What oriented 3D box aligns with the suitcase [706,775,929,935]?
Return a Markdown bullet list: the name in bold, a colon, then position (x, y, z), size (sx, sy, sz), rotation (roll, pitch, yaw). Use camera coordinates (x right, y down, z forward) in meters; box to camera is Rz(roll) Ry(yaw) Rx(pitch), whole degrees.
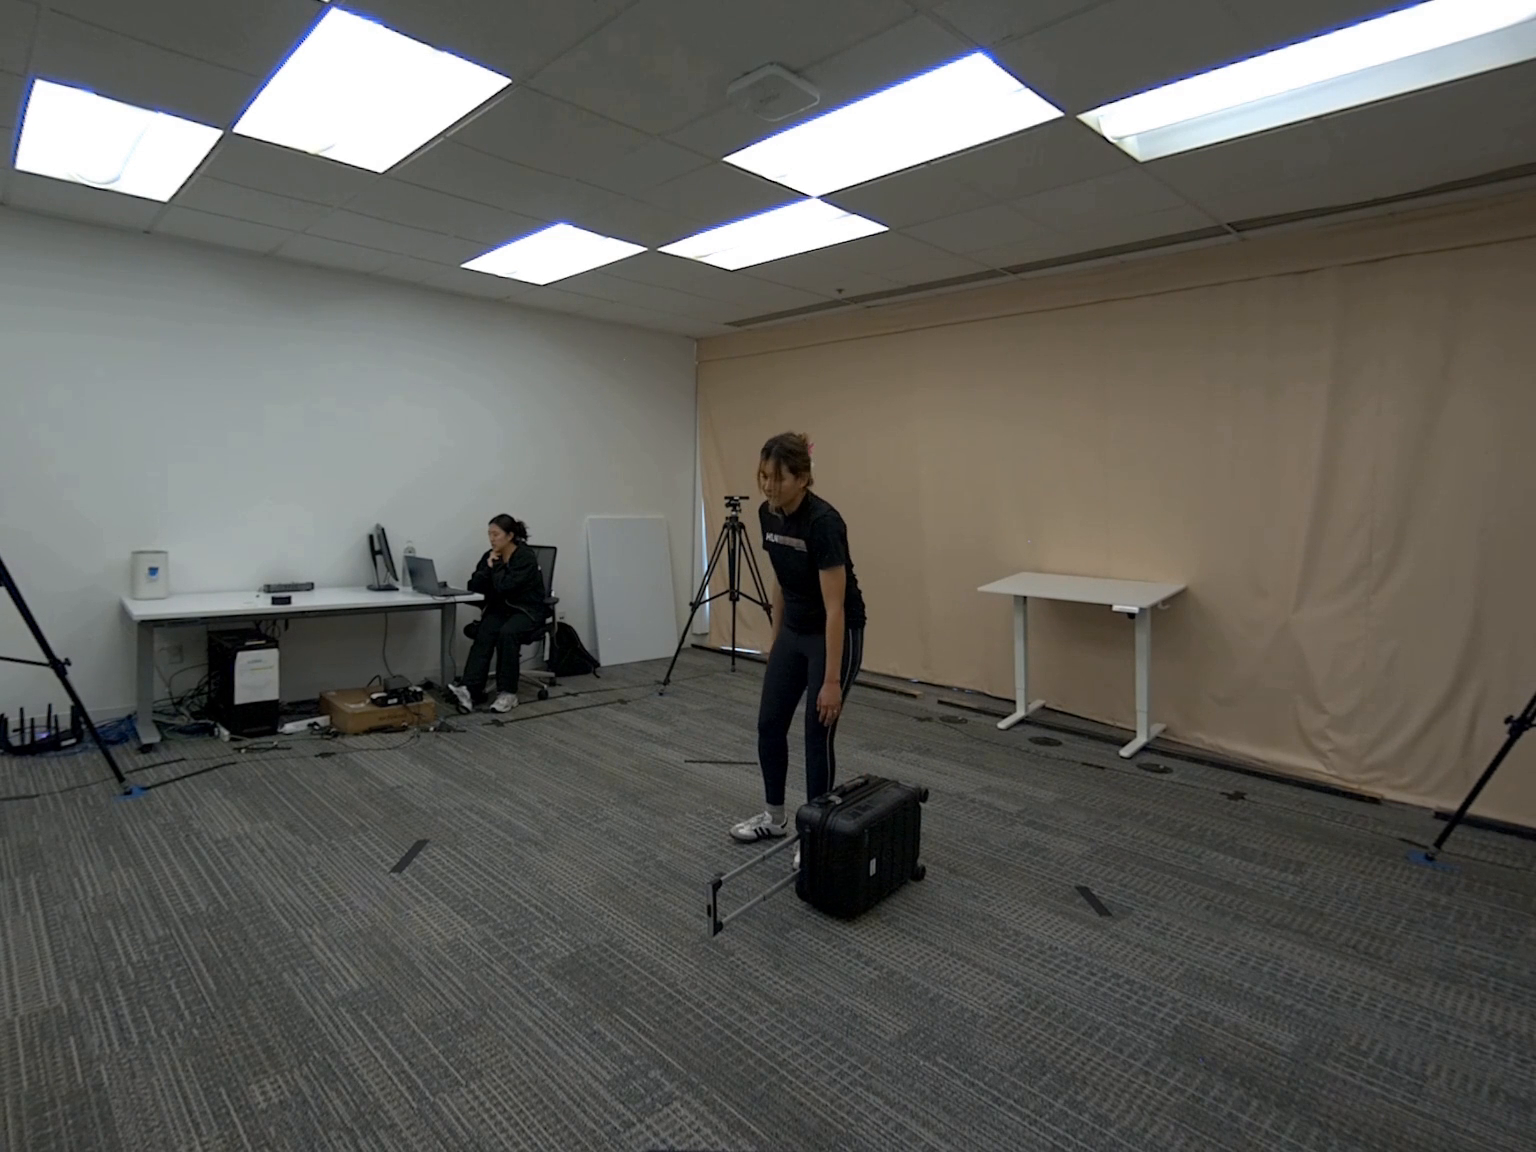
- **suitcase**: position (0.202, 0.951, 2.806), size (0.263, 0.383, 0.958), rotation (4, 6, 37)
